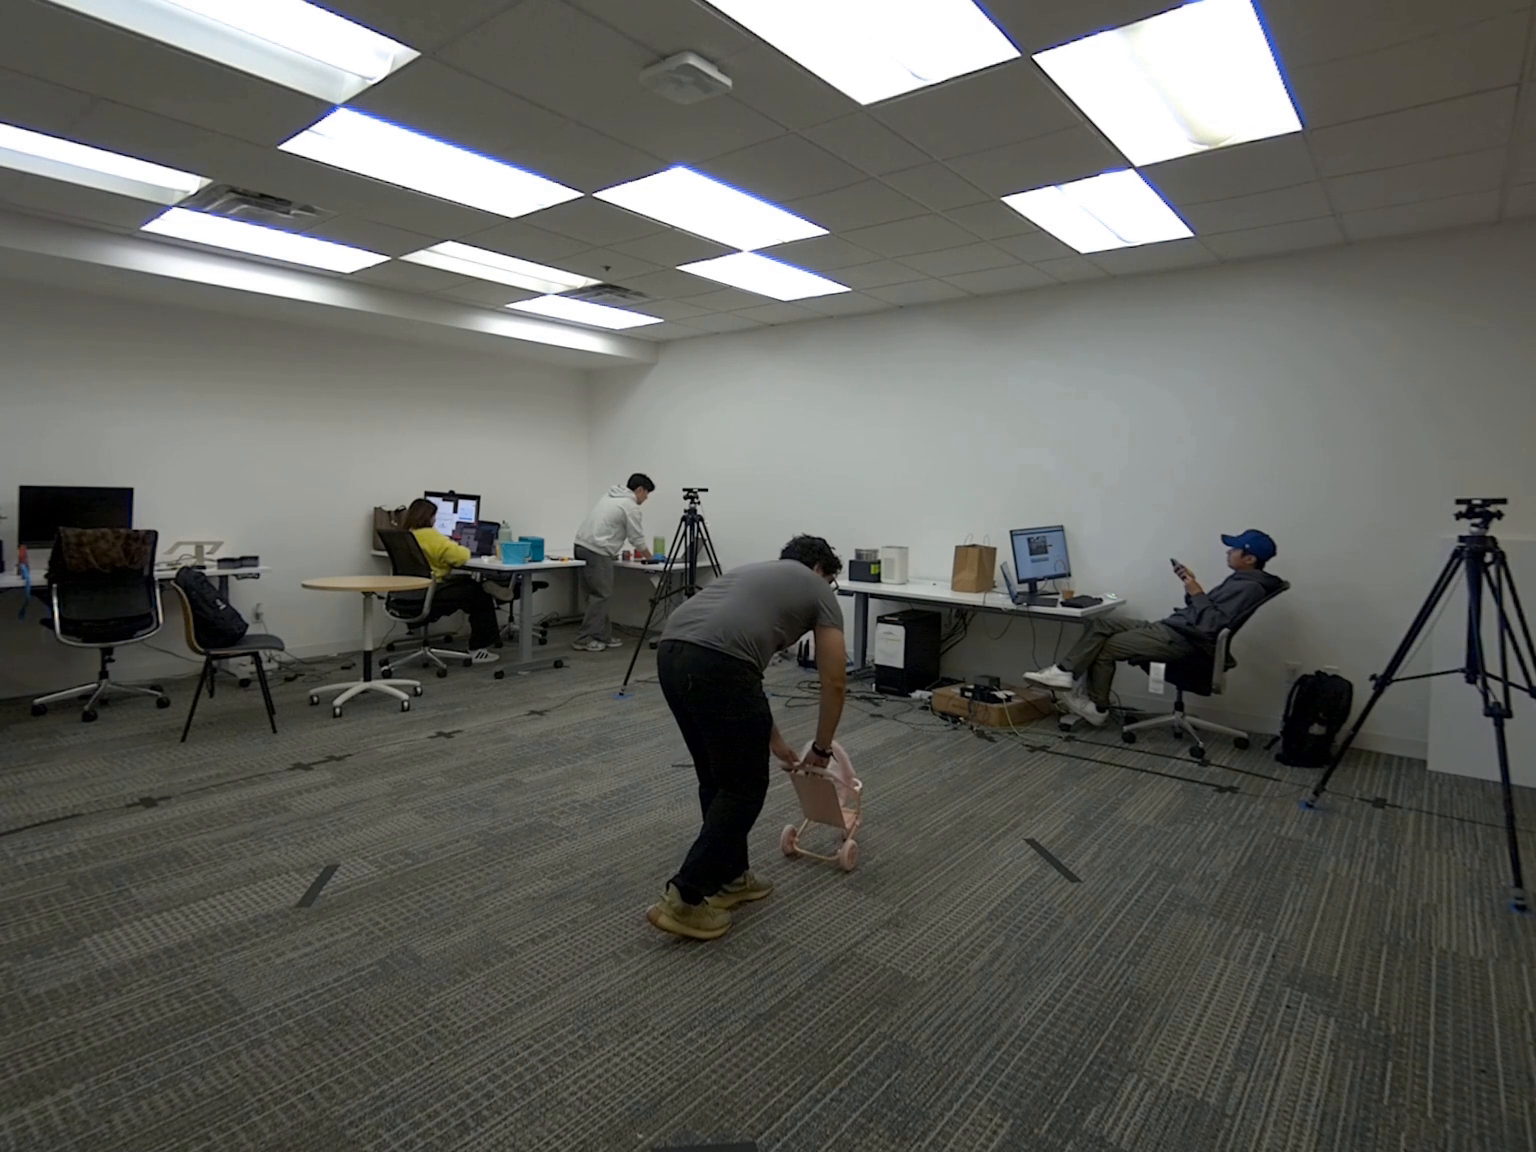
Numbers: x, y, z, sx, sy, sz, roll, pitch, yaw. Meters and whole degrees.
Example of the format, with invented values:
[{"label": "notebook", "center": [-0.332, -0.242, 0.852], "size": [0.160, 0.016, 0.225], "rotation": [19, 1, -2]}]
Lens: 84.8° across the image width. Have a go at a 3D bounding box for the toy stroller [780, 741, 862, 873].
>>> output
[{"label": "toy stroller", "center": [0.210, 0.841, 3.232], "size": [0.290, 0.525, 0.337], "rotation": [4, 22, 34]}]
